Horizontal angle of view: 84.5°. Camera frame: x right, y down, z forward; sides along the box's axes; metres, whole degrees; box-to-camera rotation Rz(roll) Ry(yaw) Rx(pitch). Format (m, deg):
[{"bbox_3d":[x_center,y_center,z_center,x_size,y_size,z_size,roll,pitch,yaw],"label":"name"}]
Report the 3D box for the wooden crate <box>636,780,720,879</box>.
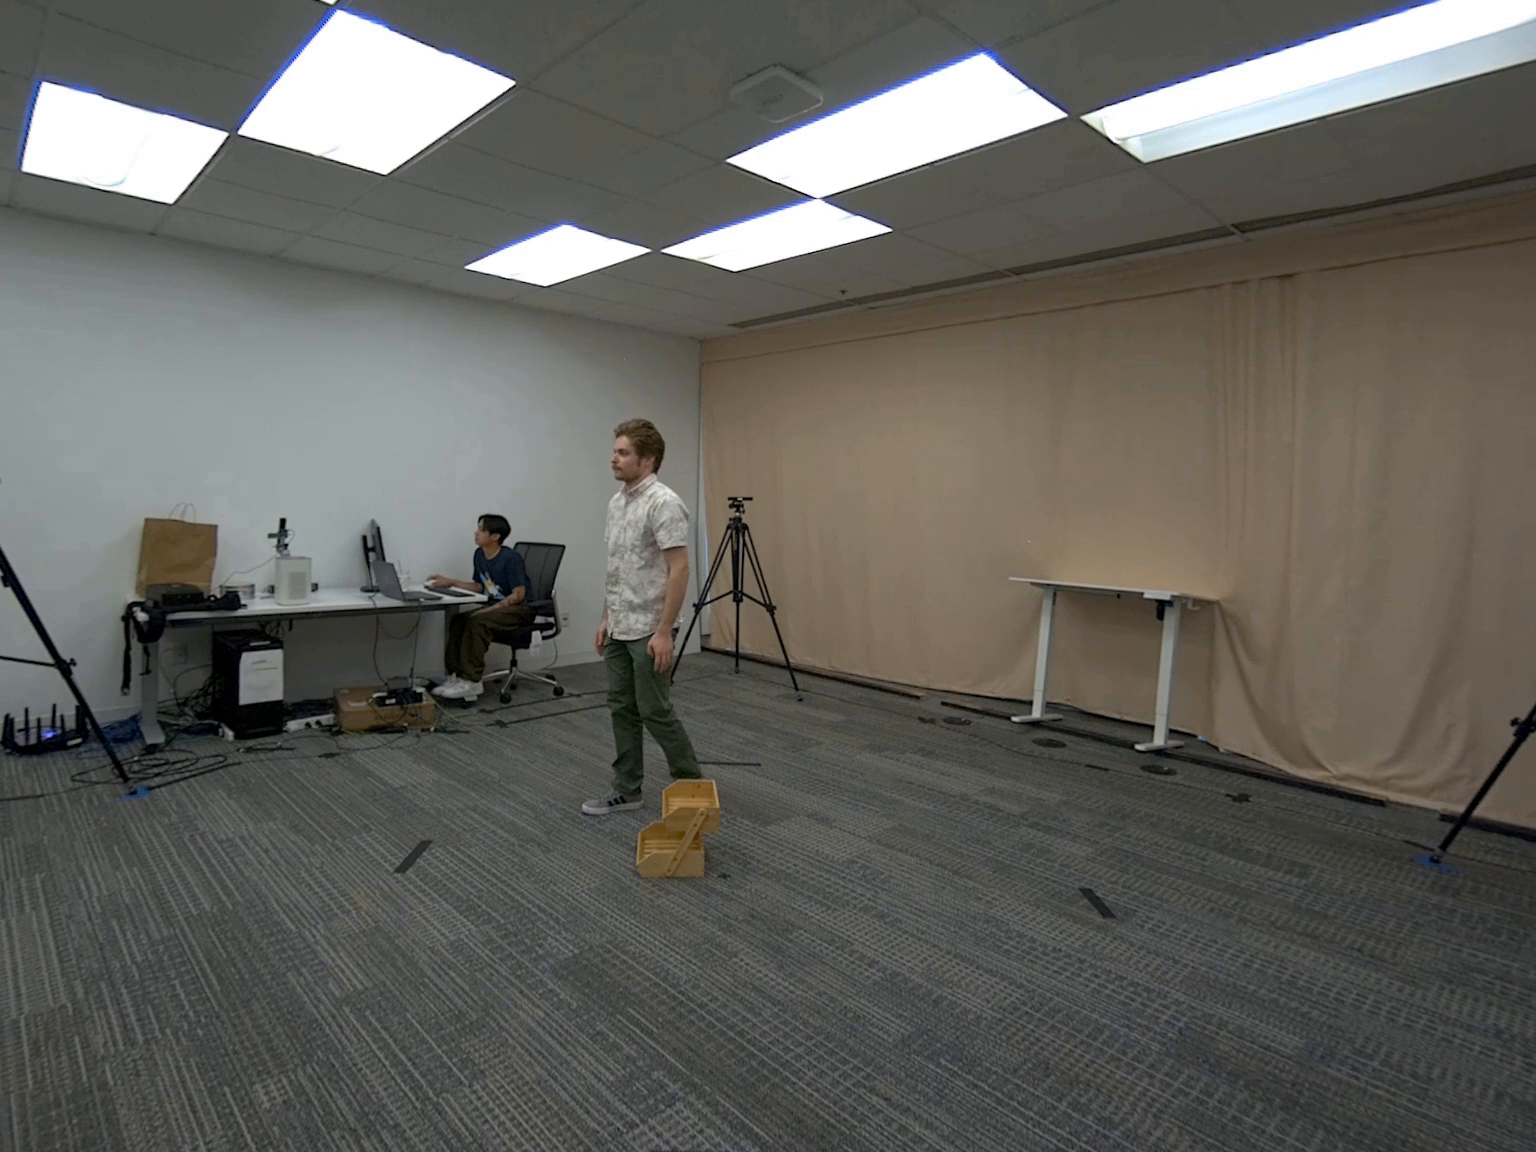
[{"bbox_3d":[-0.364,0.957,3.234,0.300,0.272,0.327,1,4,-6],"label":"wooden crate"}]
